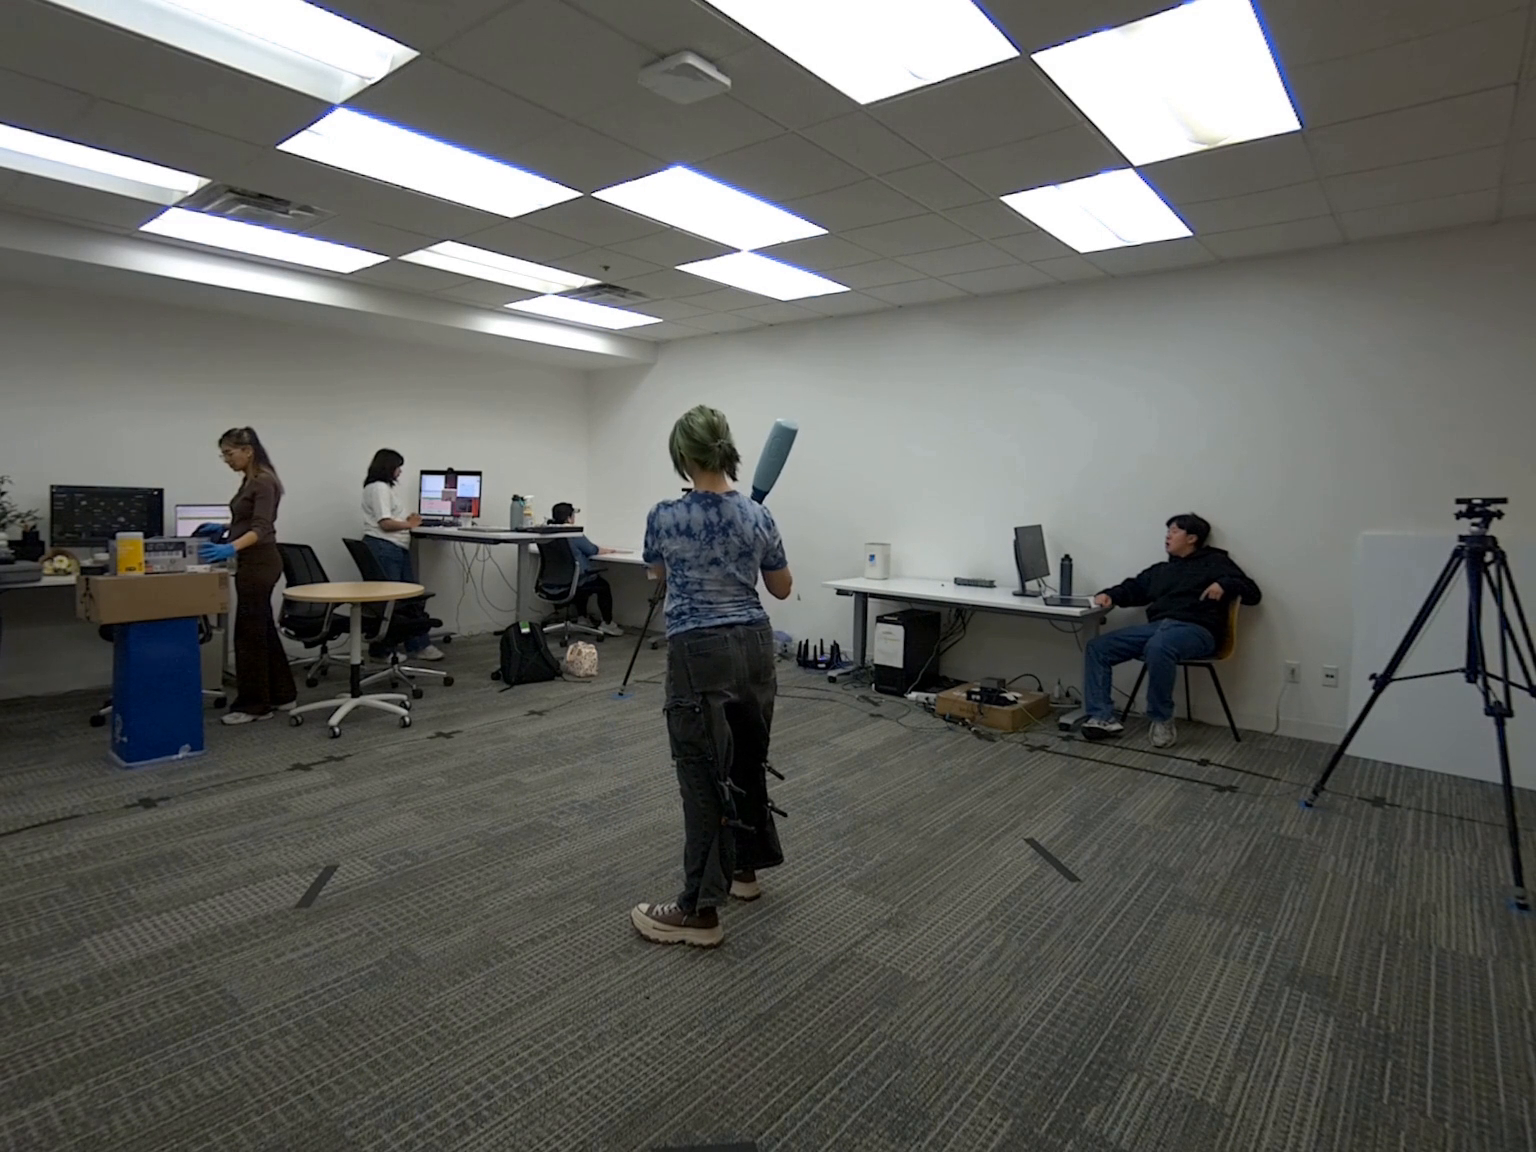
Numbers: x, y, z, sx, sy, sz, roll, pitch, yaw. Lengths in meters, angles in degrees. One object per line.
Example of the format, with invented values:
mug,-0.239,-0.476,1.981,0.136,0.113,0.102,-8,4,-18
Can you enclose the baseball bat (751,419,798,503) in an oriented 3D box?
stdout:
baseball bat,-0.037,-0.287,2.986,0.088,0.537,0.091,17,22,-9
